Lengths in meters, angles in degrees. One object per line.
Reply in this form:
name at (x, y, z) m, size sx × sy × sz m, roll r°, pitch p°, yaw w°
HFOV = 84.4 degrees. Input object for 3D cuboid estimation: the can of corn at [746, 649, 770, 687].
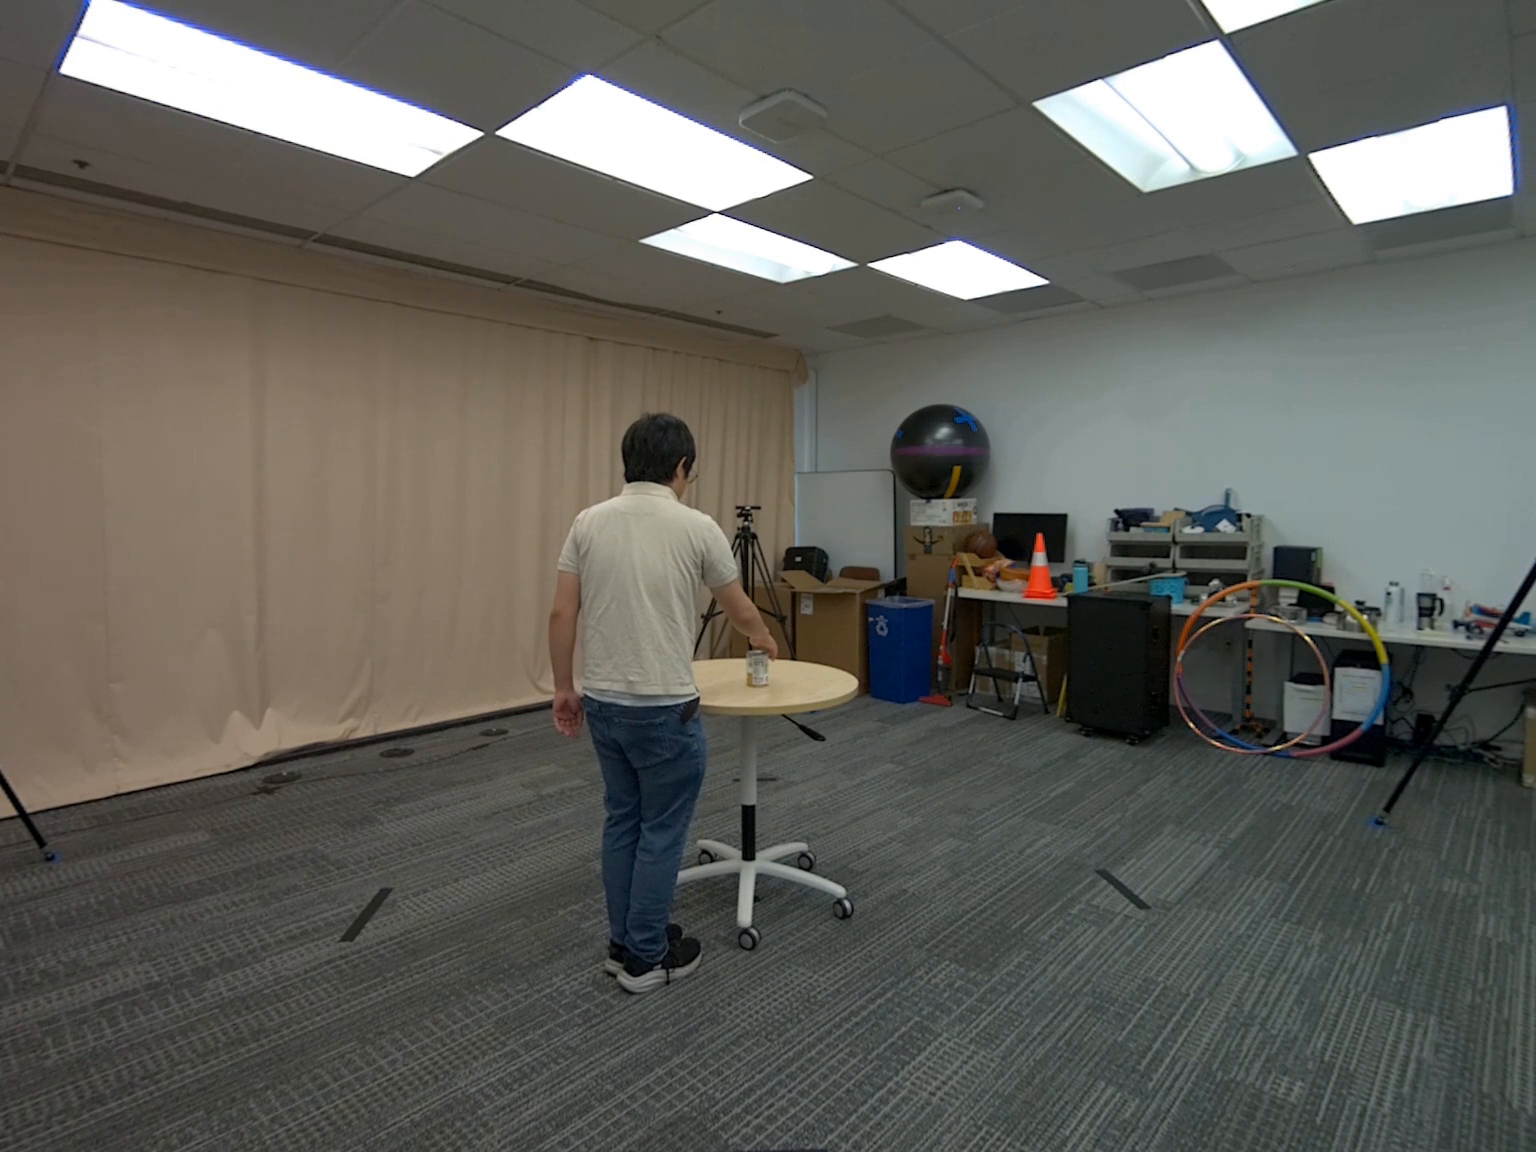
can of corn at (-0.029, 0.318, 2.867) m, size 0.074 × 0.110 × 0.074 m, roll 1°, pitch 7°, yaw -2°
